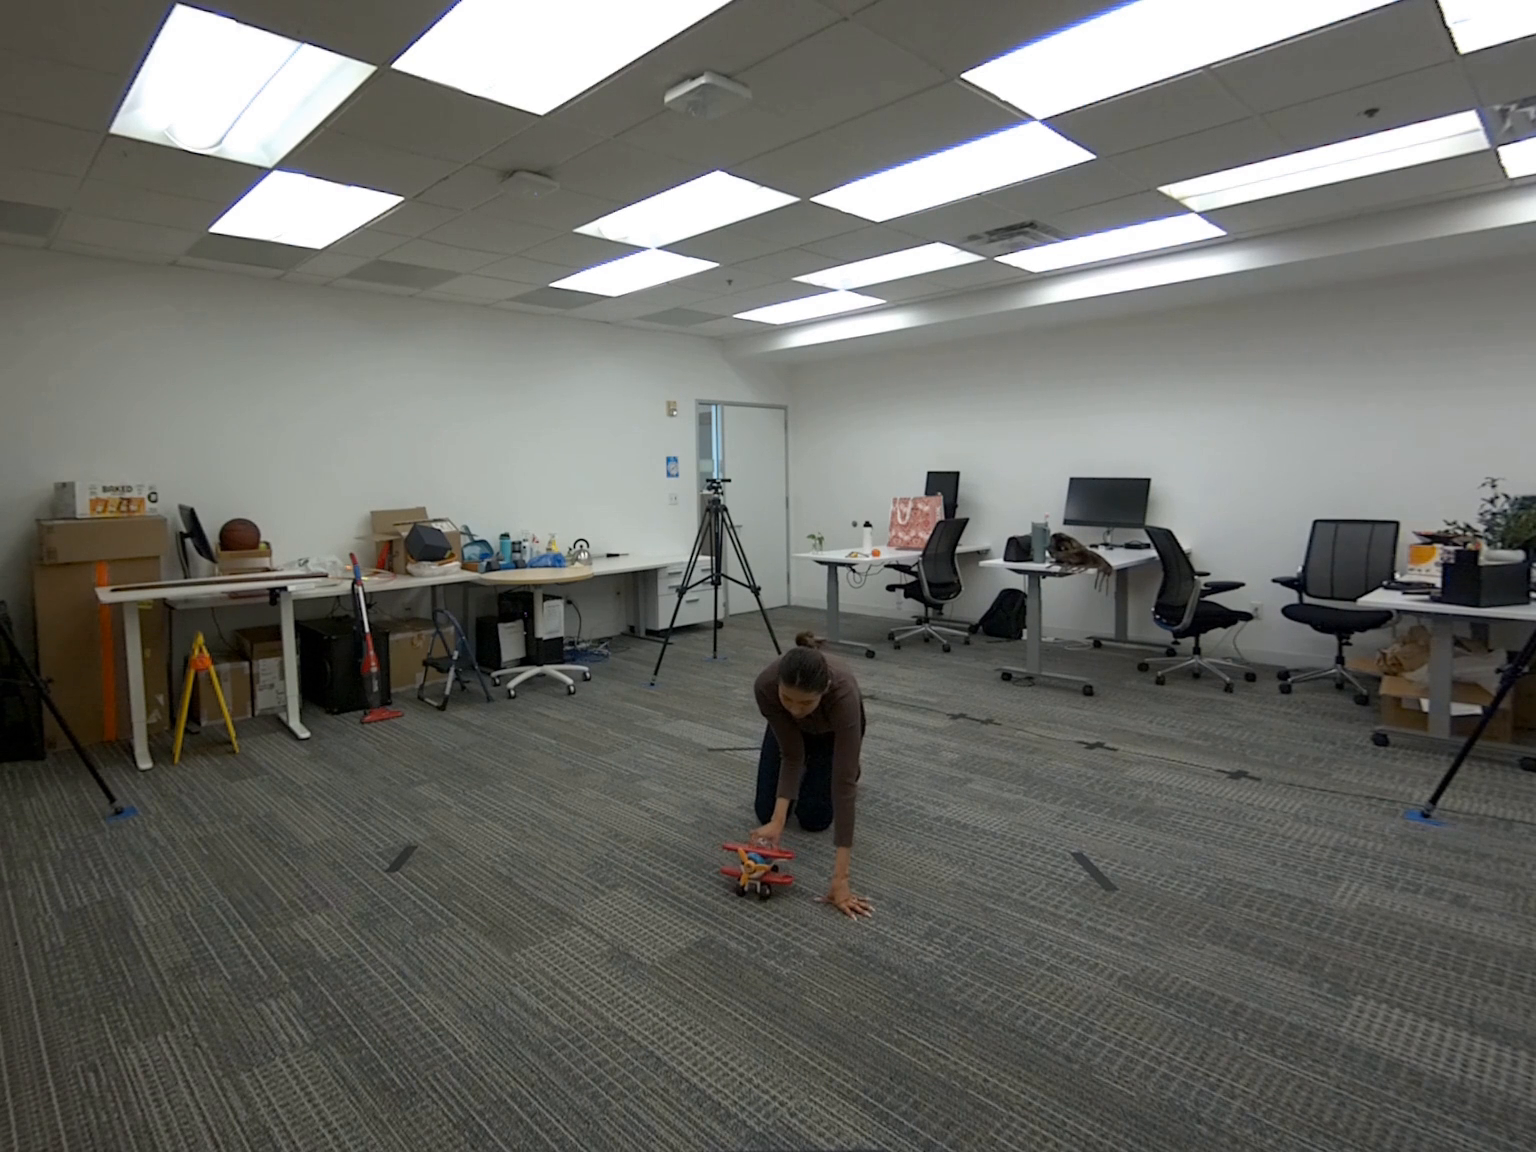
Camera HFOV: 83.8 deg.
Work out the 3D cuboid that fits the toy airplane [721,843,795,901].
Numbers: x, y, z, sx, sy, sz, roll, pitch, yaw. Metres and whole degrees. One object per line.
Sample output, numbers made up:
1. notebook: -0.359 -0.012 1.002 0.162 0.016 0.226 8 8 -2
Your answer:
1. toy airplane: -0.039 0.995 2.933 0.249 0.156 0.263 -1 6 -10
